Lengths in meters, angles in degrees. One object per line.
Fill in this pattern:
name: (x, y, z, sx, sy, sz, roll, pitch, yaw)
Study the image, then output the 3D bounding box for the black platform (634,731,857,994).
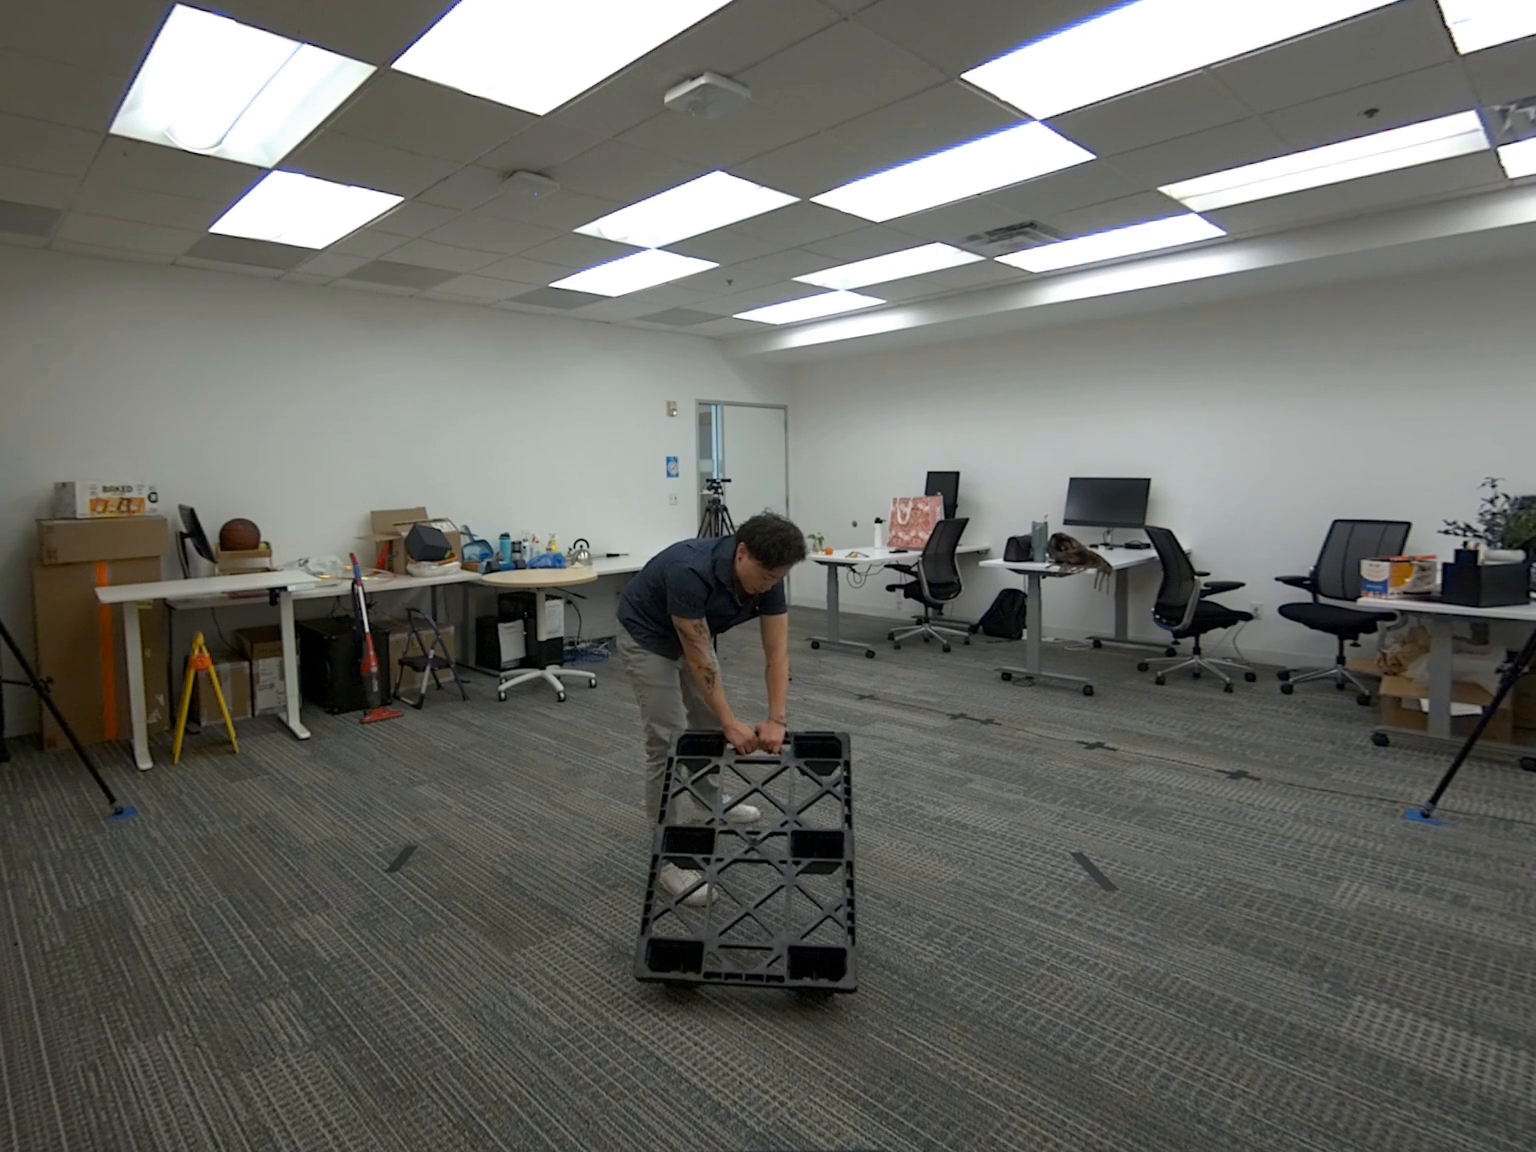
black platform: (-0.030, 0.827, 2.580, 0.609, 0.139, 0.825, -1, 42, 5)
